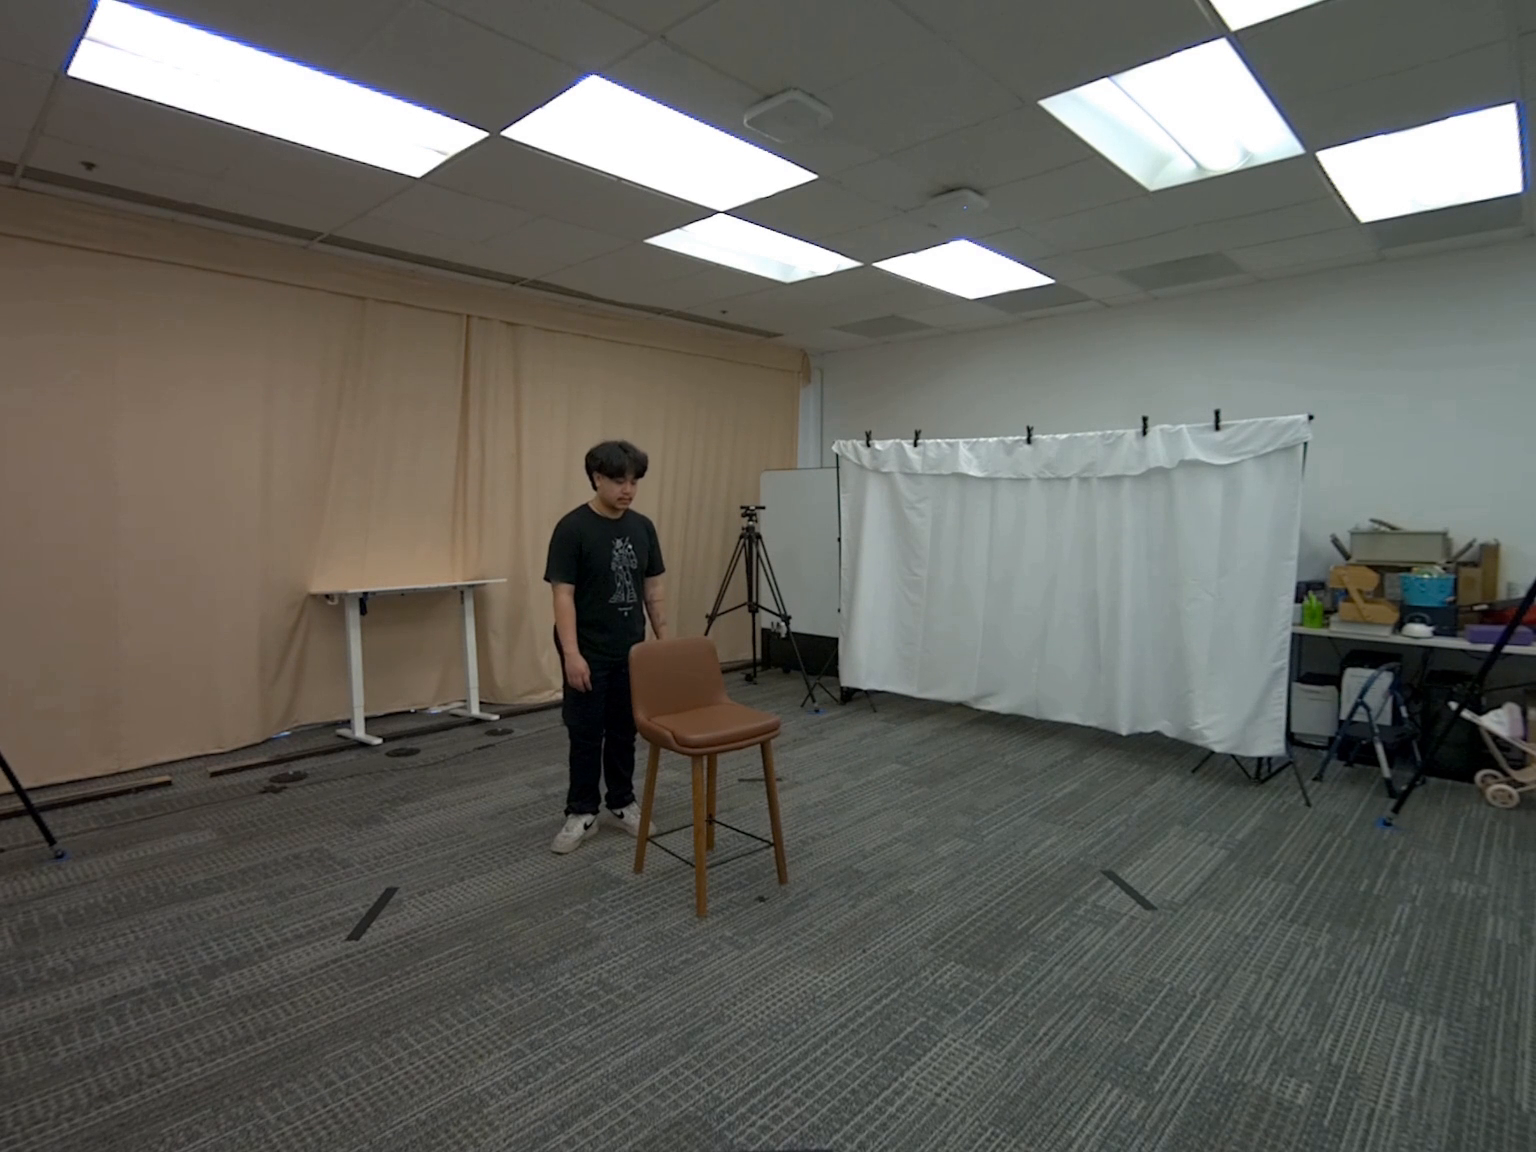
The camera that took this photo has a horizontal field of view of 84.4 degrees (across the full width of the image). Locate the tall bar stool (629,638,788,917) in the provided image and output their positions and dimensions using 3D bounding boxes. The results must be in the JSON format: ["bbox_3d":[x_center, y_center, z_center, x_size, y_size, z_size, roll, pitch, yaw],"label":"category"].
[{"bbox_3d":[-0.232,0.697,3.132,0.443,0.889,0.482,-3,2,-40],"label":"tall bar stool"}]
